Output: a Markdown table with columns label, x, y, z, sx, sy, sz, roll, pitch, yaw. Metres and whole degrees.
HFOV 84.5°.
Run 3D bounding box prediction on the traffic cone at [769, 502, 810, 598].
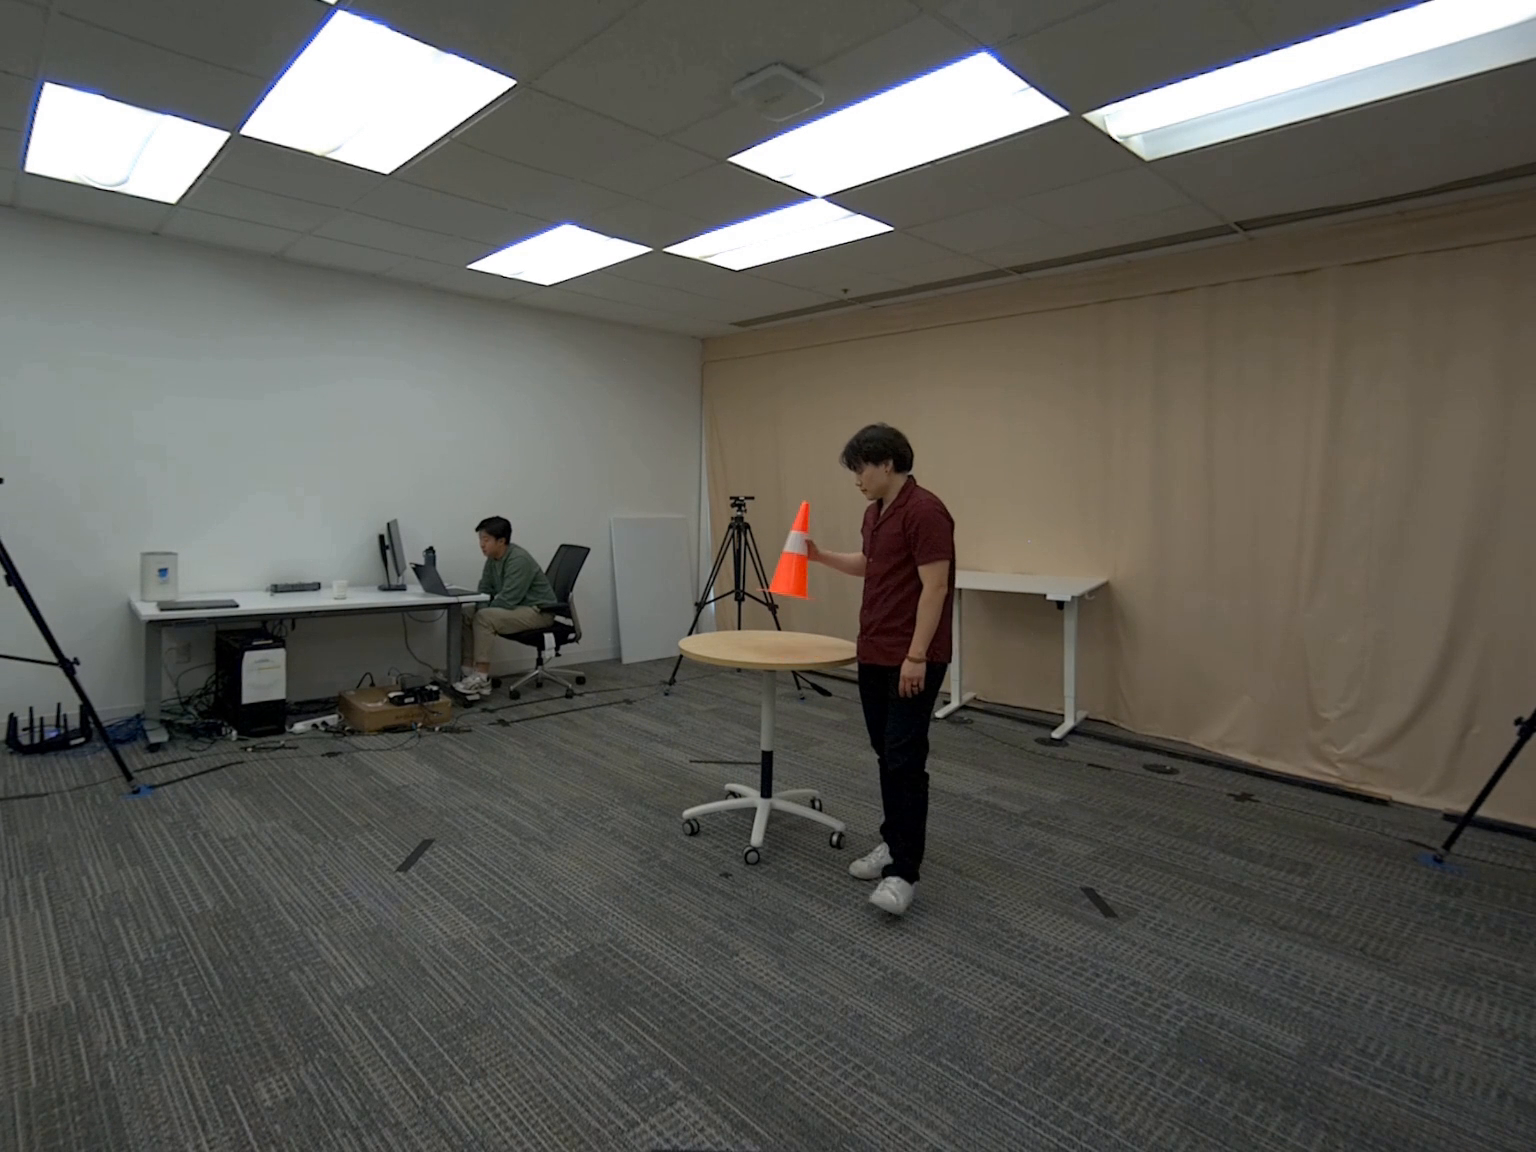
| label | x | y | z | sx | sy | sz | roll | pitch | yaw |
| --- | --- | --- | --- | --- | --- | --- | --- | --- | --- |
| traffic cone | 0.118 | -0.098 | 3.391 | 0.199 | 0.384 | 0.209 | 11 | 0 | -38 |
